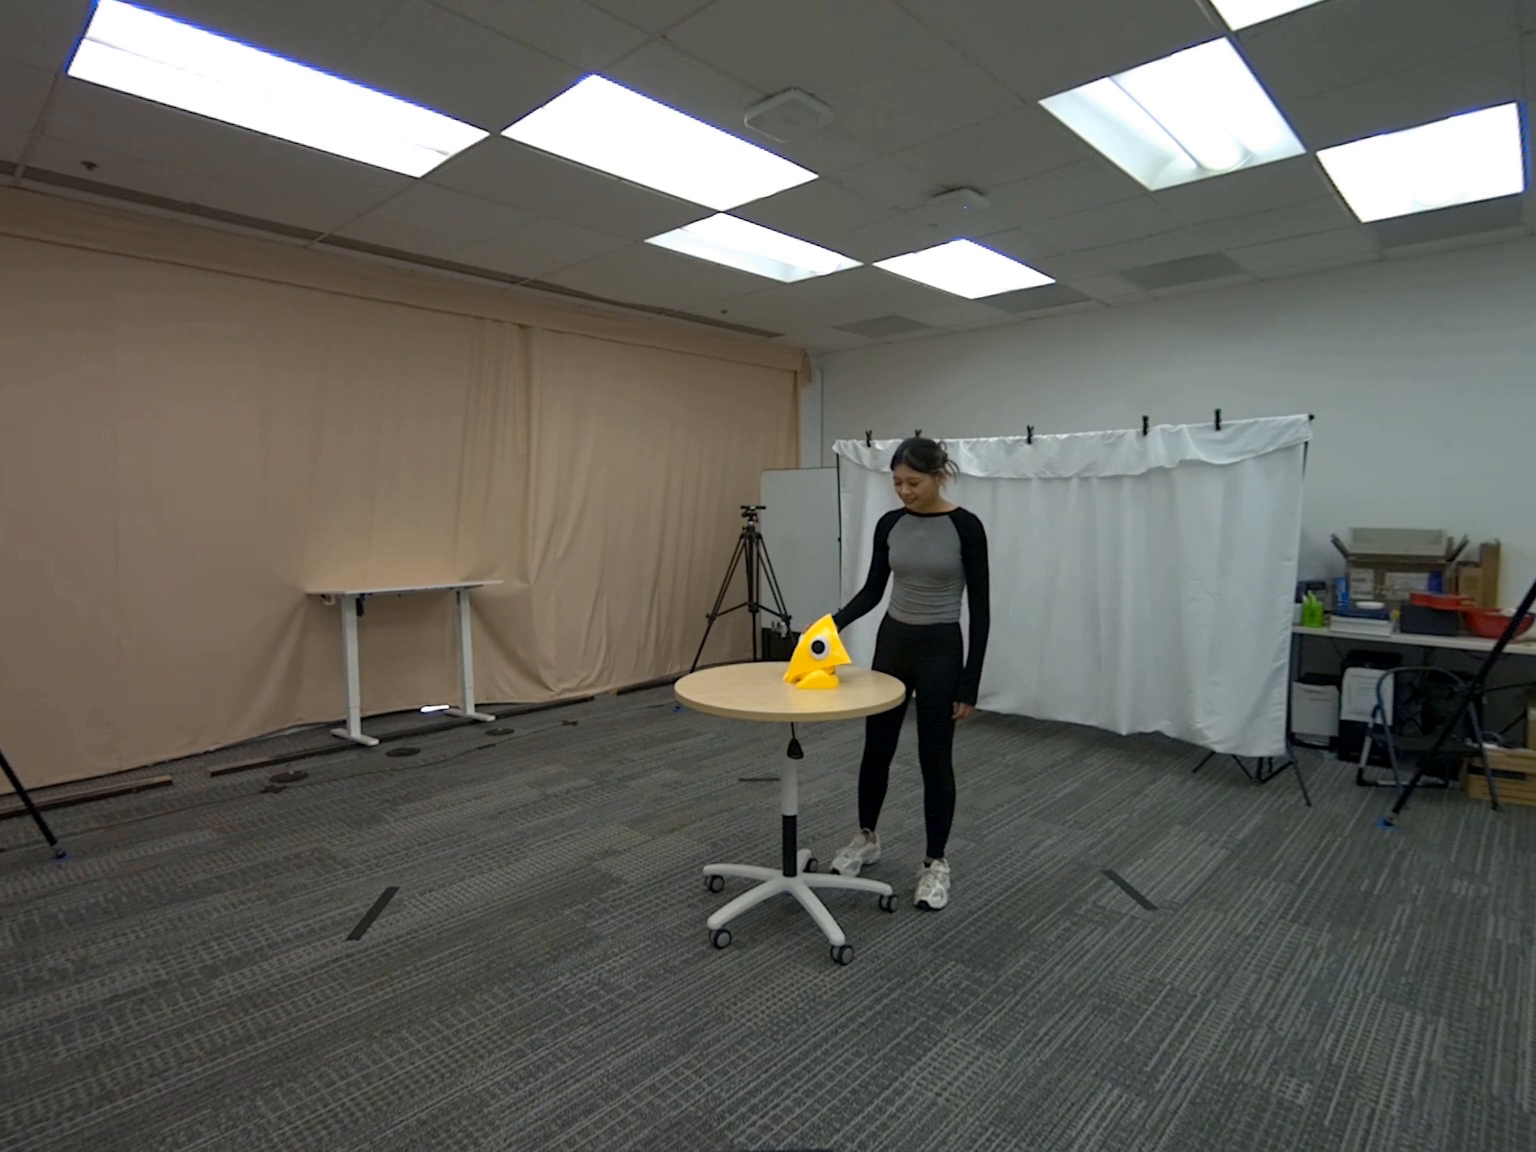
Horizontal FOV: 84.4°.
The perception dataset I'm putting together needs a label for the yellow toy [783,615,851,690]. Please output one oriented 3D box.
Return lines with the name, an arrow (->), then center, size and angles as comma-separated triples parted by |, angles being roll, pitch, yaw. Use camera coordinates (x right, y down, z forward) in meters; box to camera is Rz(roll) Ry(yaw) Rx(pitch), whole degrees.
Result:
yellow toy -> 0.160, 0.248, 2.839 | 0.189, 0.230, 0.209 | -1, 4, -20
